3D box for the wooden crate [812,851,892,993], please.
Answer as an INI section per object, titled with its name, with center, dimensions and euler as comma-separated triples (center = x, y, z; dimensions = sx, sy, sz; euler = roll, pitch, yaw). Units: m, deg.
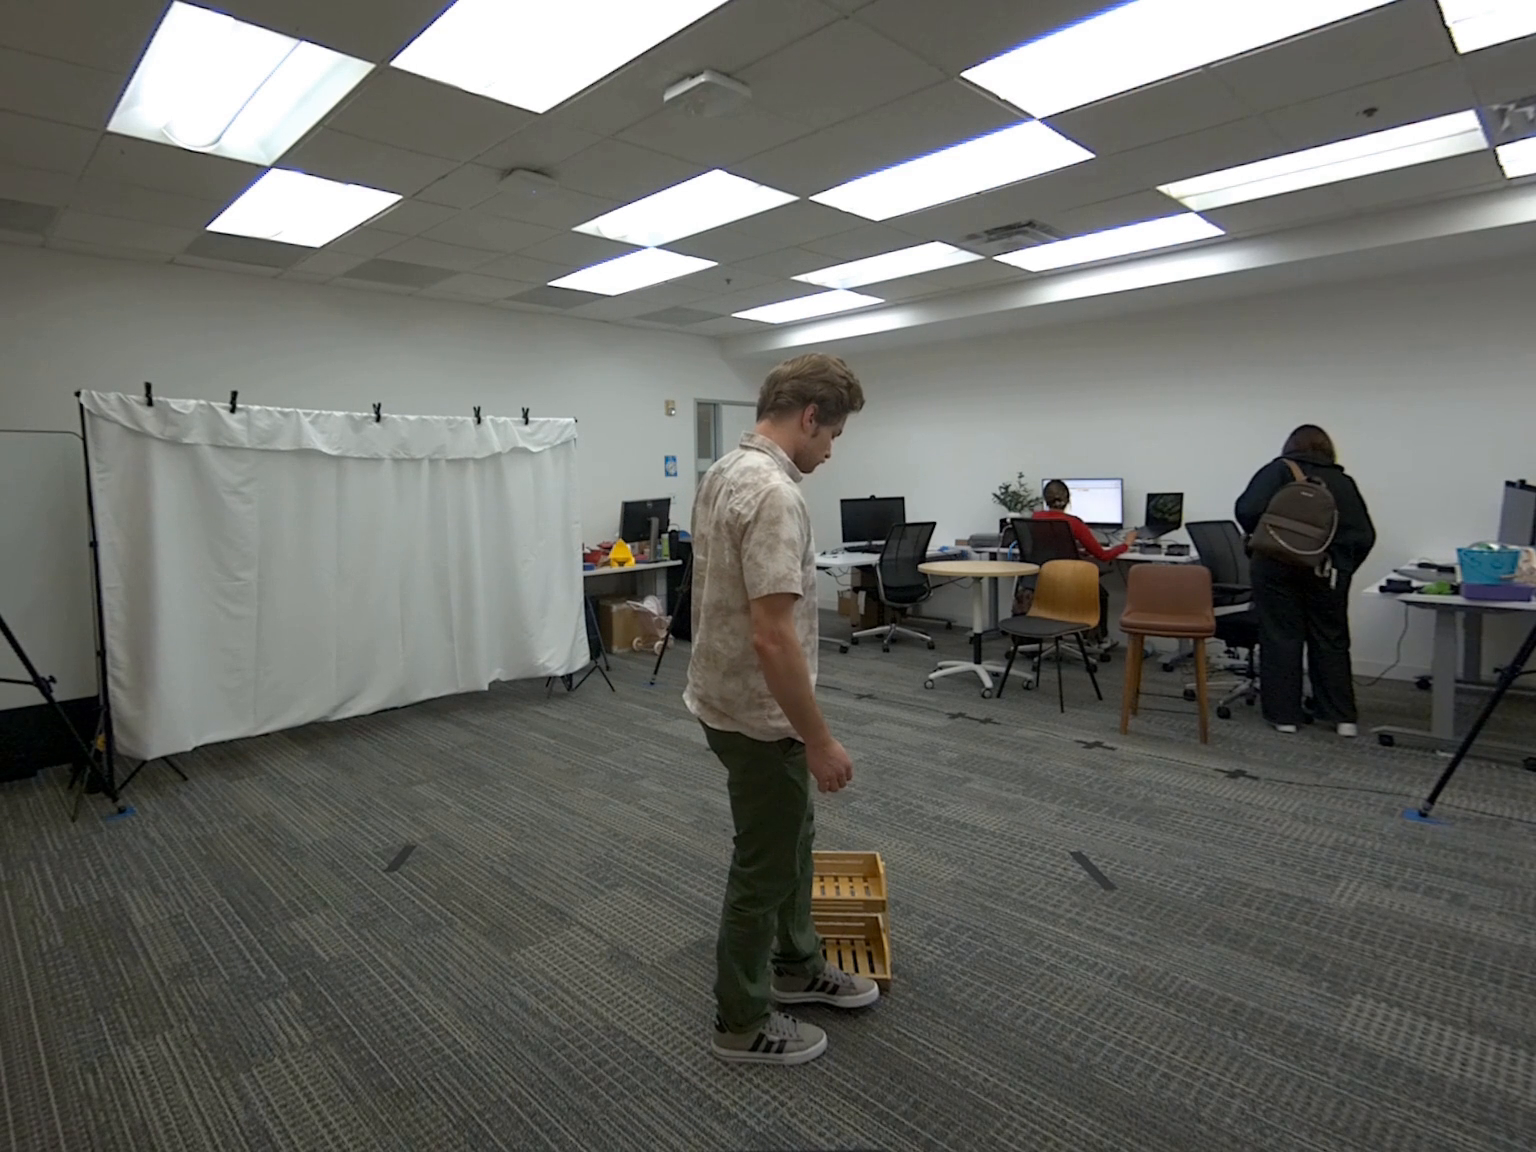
[wooden crate]
center = 0.194, 0.985, 2.449
dimensions = 0.325, 0.272, 0.303
euler = -2, 6, 1
